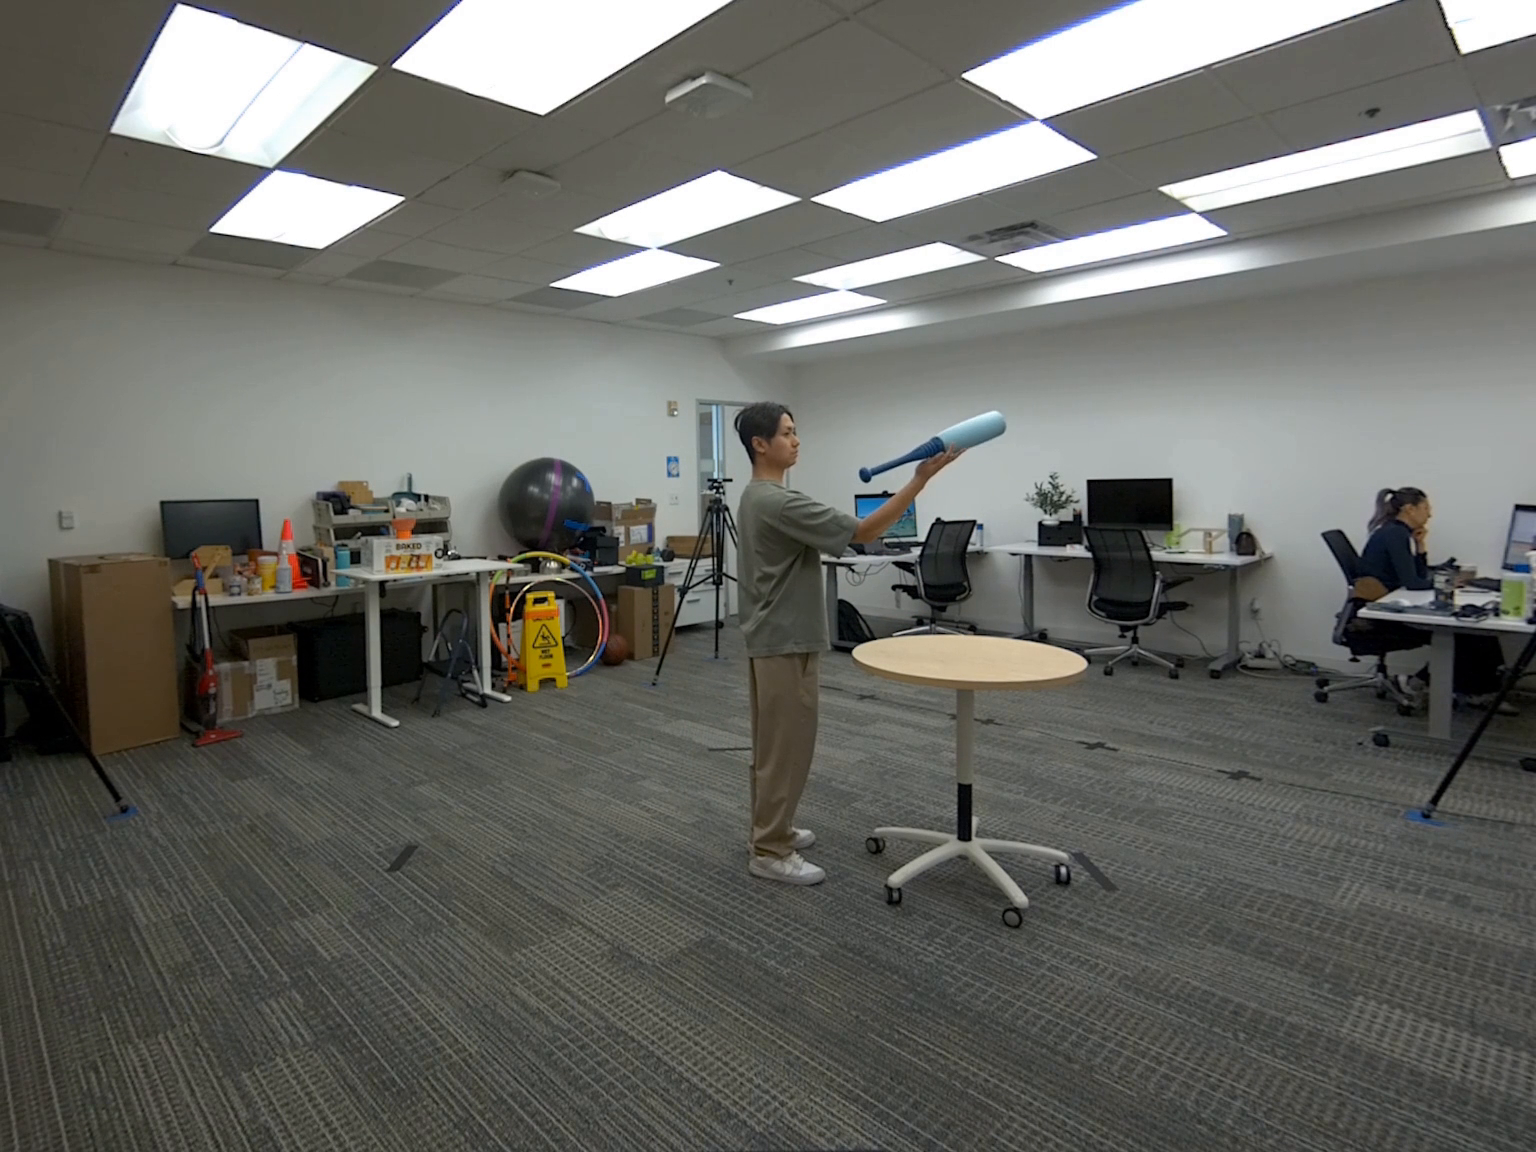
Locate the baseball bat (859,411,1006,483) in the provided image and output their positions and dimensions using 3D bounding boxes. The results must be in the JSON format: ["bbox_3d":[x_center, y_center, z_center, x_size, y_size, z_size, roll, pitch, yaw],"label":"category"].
[{"bbox_3d":[0.529,-0.410,2.736,0.538,0.088,0.091,-22,12,-17],"label":"baseball bat"}]
